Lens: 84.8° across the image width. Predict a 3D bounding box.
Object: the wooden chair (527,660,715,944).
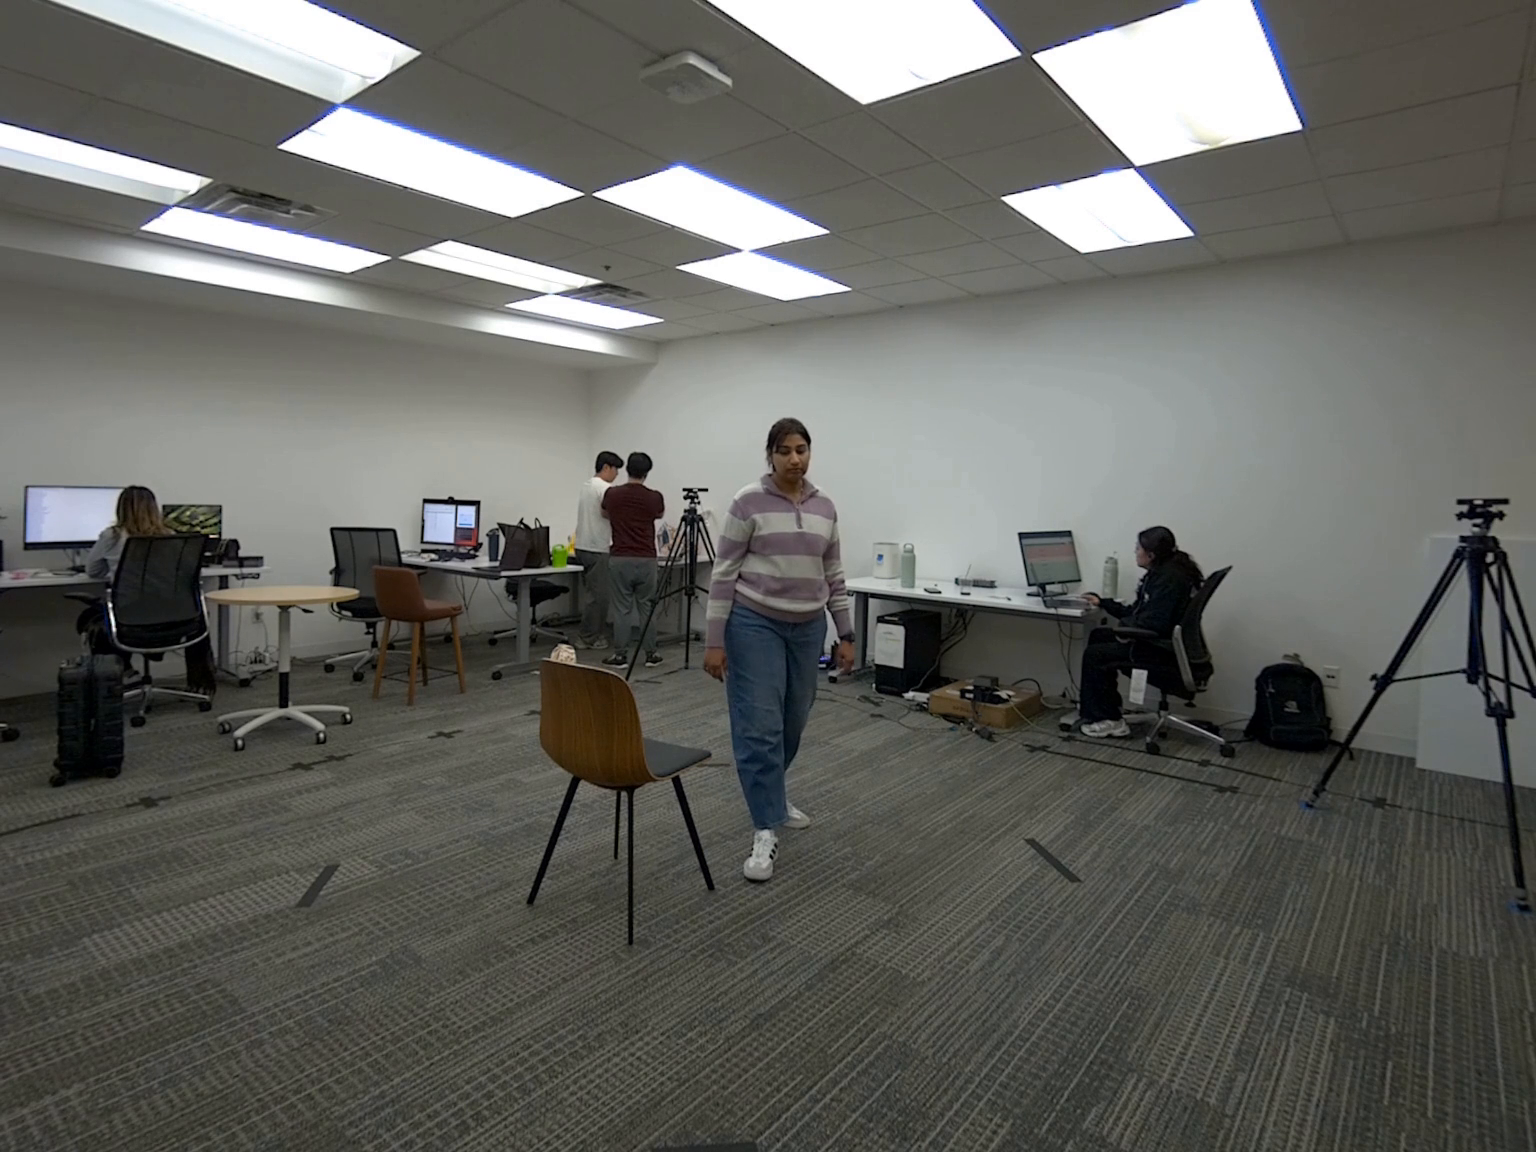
[{"bbox_3d":[-0.490,0.660,2.867,0.493,0.872,0.511,2,7,32],"label":"wooden chair"}]
